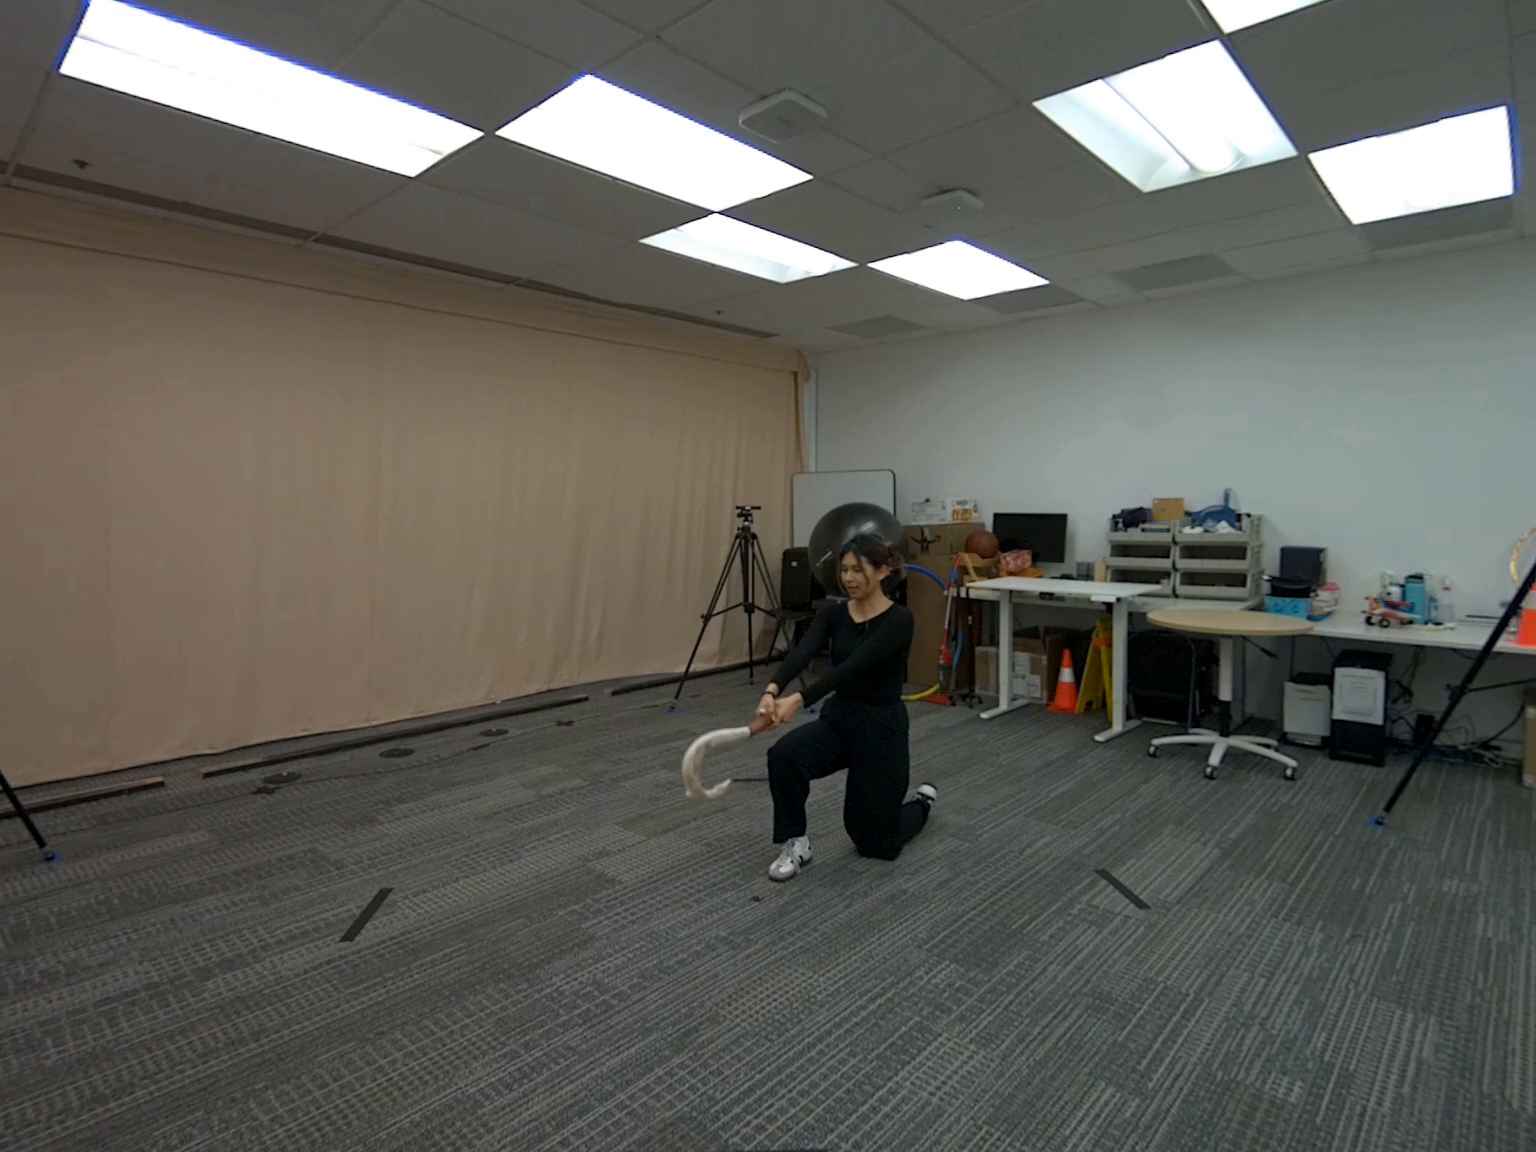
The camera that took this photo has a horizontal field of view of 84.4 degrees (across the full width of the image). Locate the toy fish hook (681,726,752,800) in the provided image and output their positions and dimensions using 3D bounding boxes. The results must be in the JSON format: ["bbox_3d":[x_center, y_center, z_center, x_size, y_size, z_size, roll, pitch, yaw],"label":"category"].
[{"bbox_3d":[-0.099,0.563,2.835,0.050,0.222,0.494,11,21,44],"label":"toy fish hook"}]
